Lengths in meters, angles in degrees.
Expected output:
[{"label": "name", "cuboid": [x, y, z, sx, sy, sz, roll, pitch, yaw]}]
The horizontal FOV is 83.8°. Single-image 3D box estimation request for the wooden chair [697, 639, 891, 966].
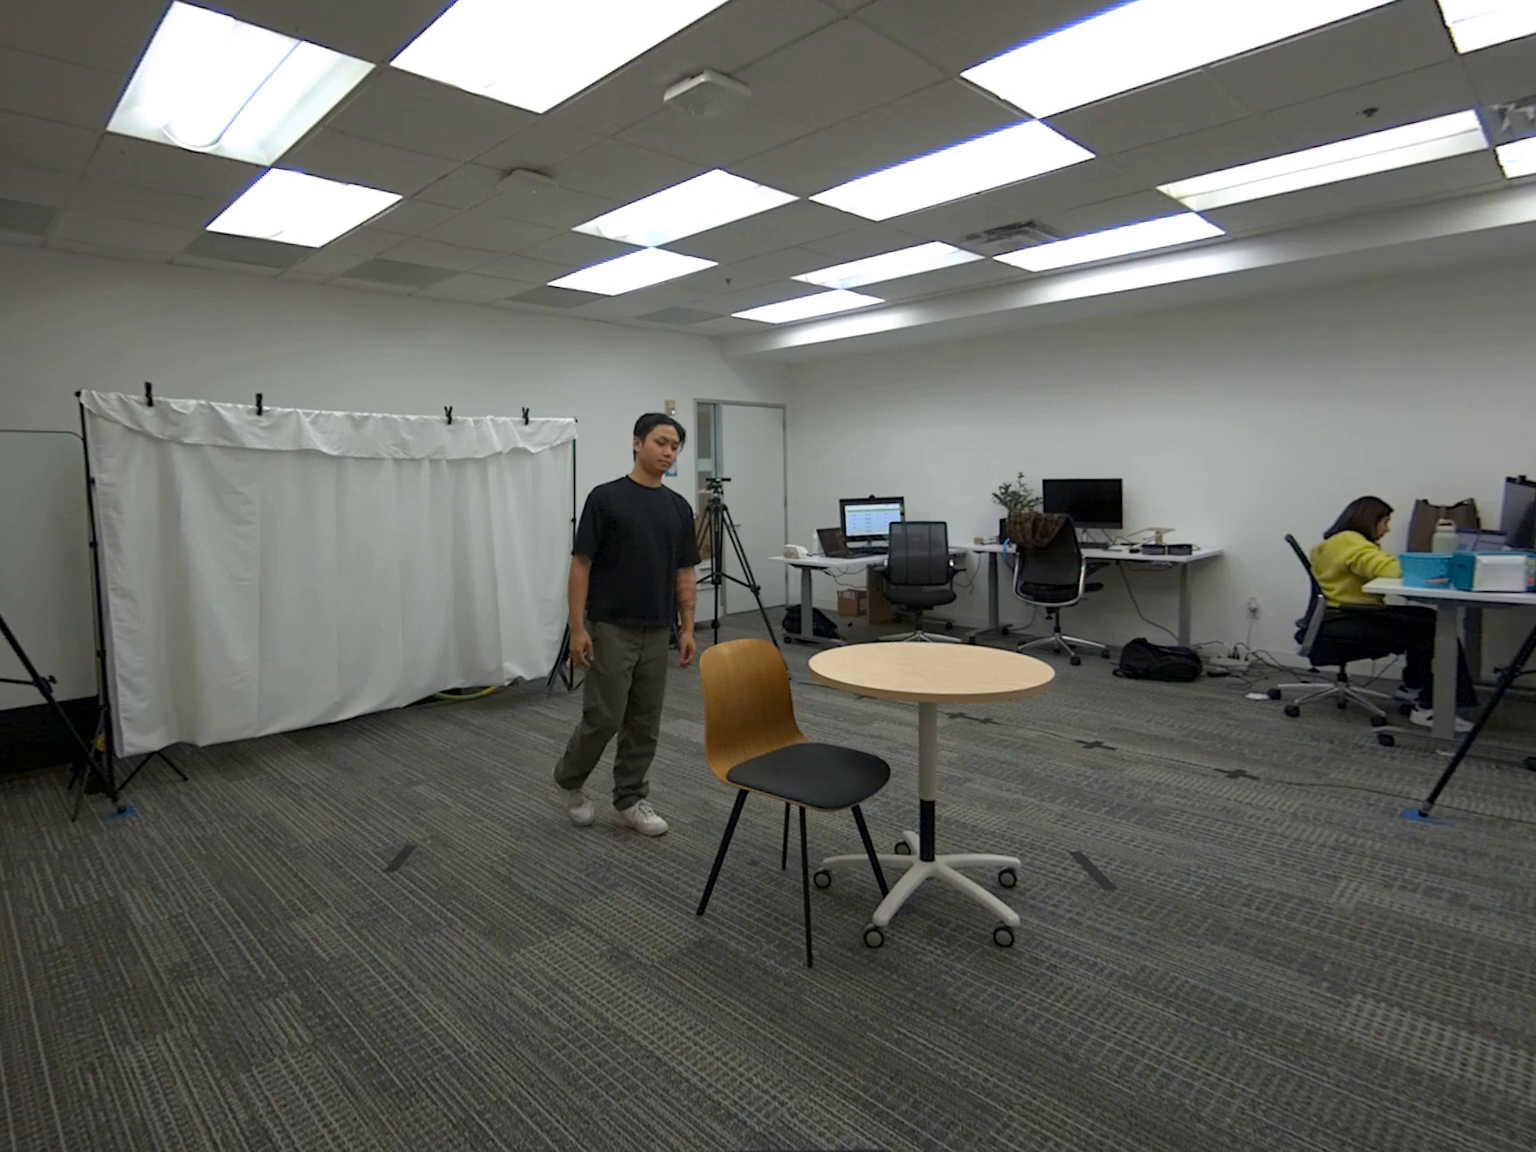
[{"label": "wooden chair", "cuboid": [0.090, 0.654, 2.715, 0.537, 0.877, 0.466, -4, 1, 41]}]
